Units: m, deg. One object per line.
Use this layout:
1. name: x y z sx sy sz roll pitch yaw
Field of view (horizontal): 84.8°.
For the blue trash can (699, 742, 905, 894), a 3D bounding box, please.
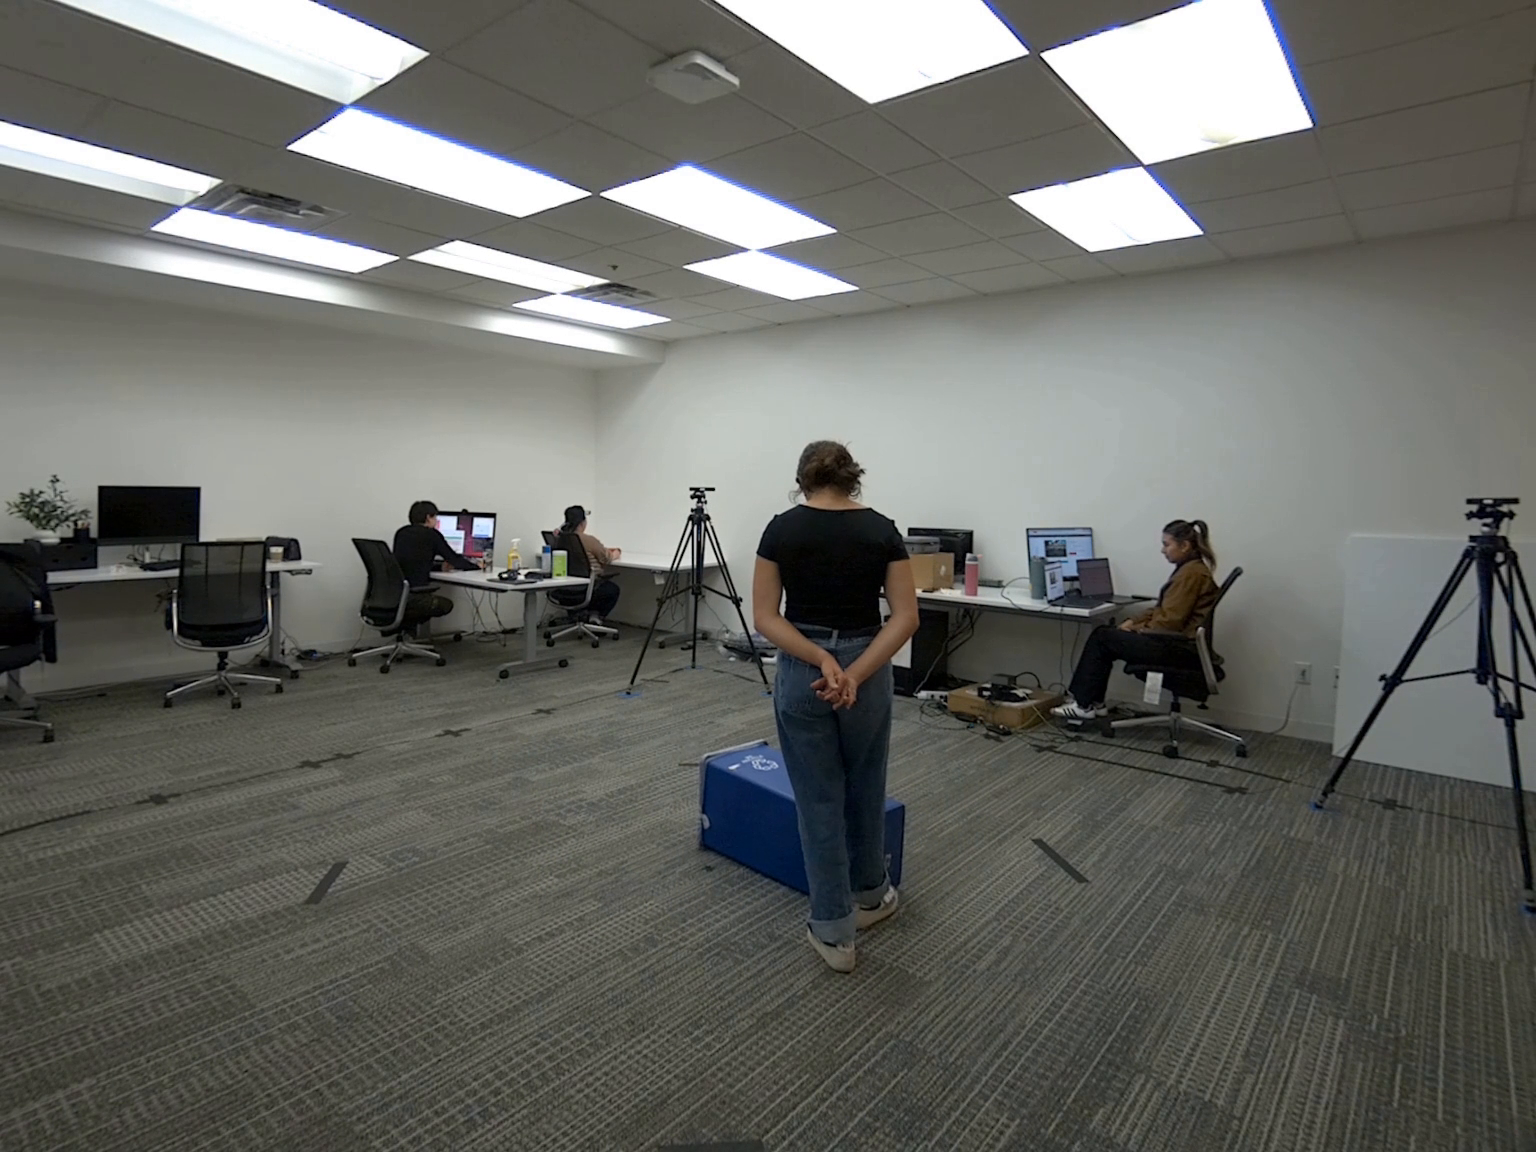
1. blue trash can: 0.104 0.904 3.133 0.740 0.376 0.363 10 9 44
